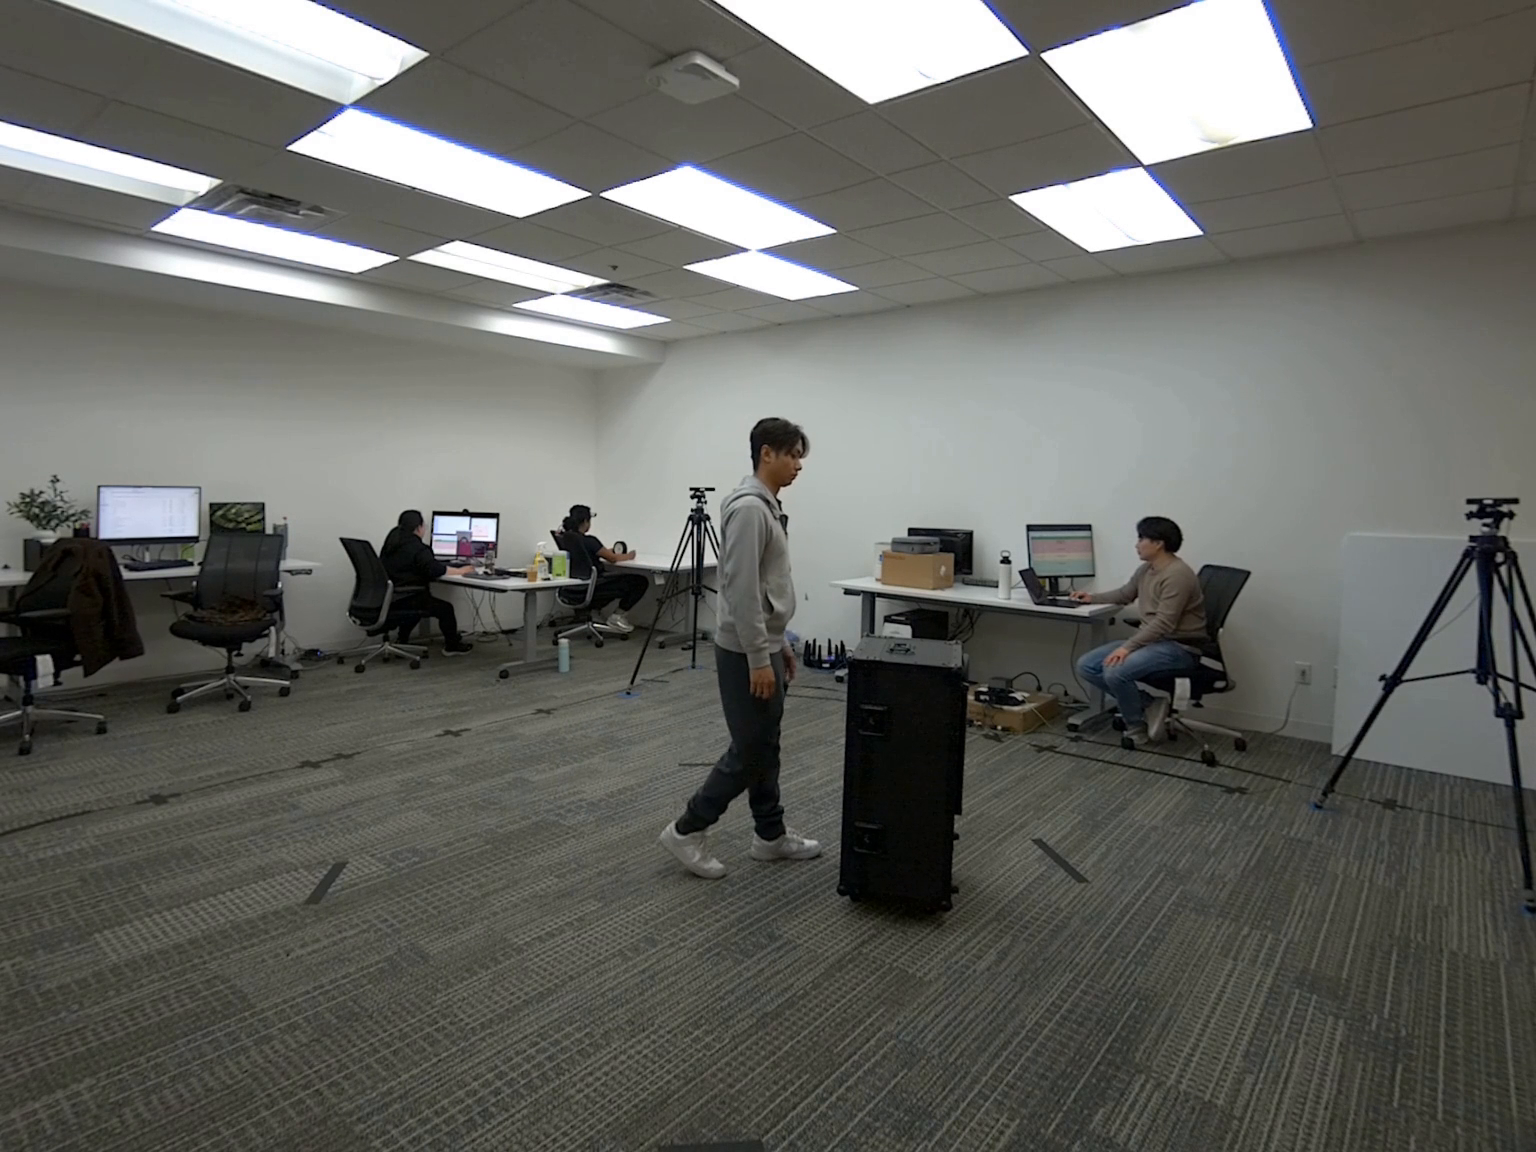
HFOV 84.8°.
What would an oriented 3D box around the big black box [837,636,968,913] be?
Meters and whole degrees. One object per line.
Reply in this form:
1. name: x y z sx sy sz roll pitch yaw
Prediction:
1. big black box: 0.473 0.671 2.939 0.403 0.859 0.514 2 4 14
